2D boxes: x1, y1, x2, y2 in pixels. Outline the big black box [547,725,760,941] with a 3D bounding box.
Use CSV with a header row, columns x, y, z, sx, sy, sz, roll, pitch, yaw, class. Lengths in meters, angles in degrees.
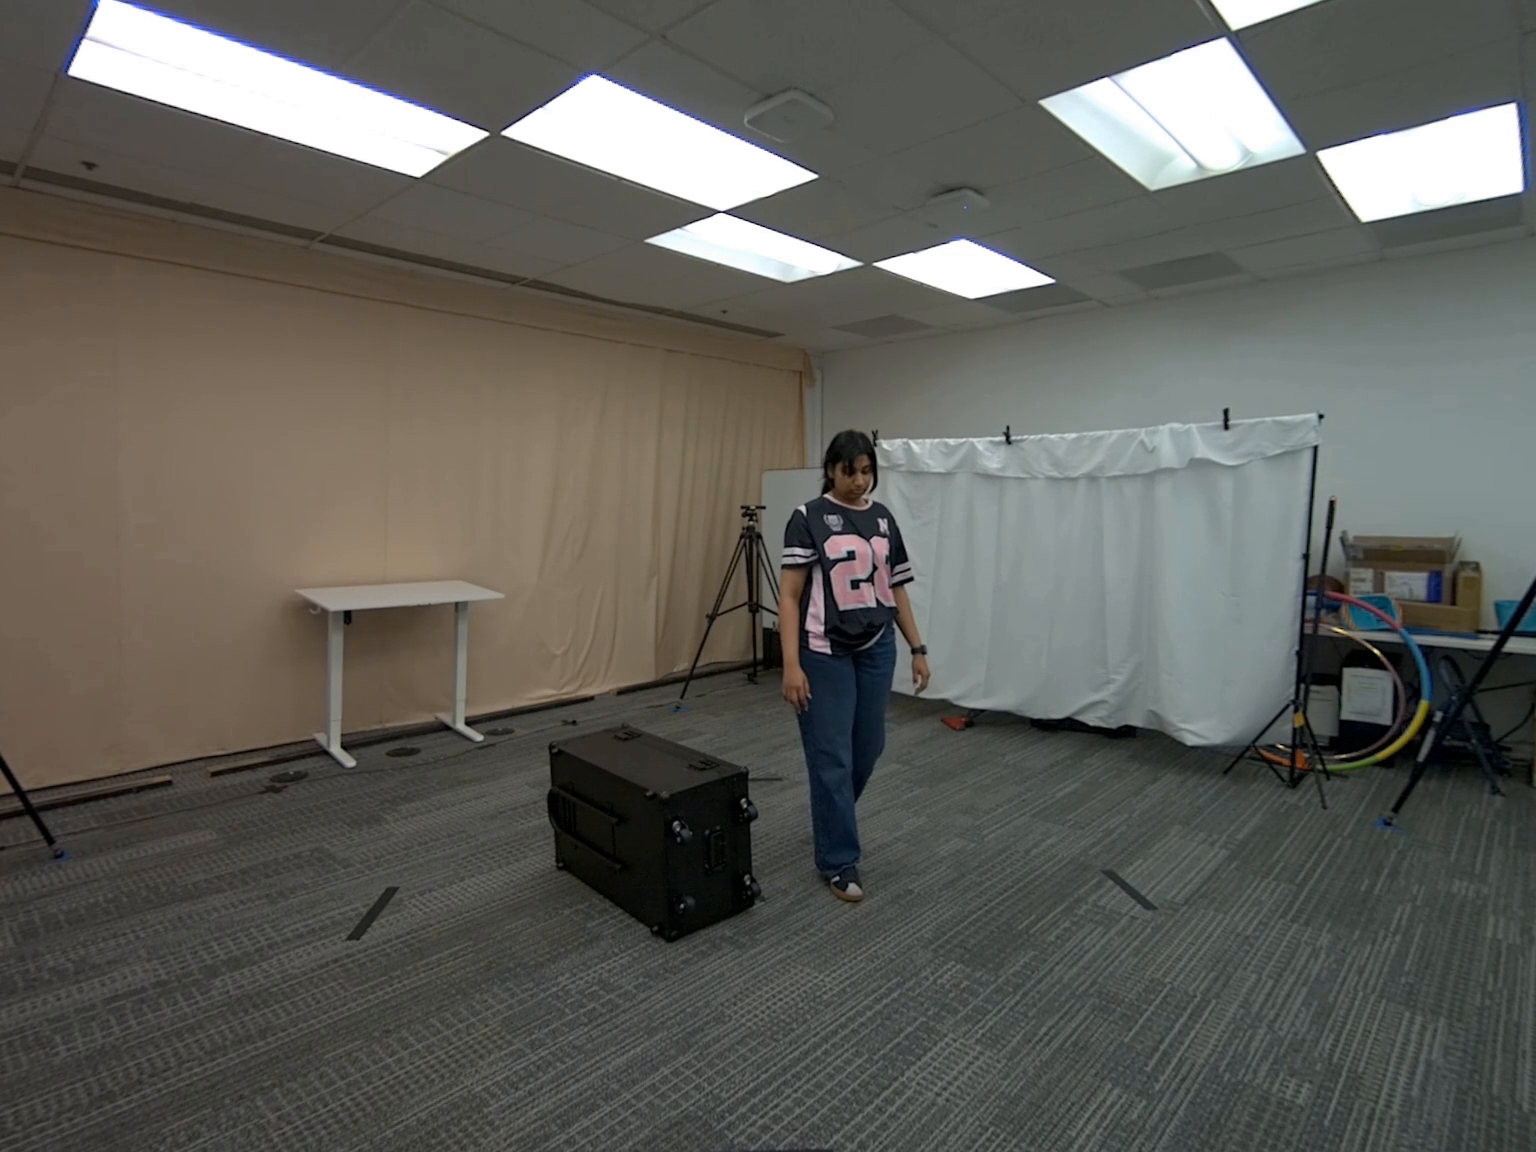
x,y,z,sx,sy,sz,roll,pitch,yaw,class
-0.425,0.887,3.038,0.373,0.522,0.897,-4,6,-40,big black box
